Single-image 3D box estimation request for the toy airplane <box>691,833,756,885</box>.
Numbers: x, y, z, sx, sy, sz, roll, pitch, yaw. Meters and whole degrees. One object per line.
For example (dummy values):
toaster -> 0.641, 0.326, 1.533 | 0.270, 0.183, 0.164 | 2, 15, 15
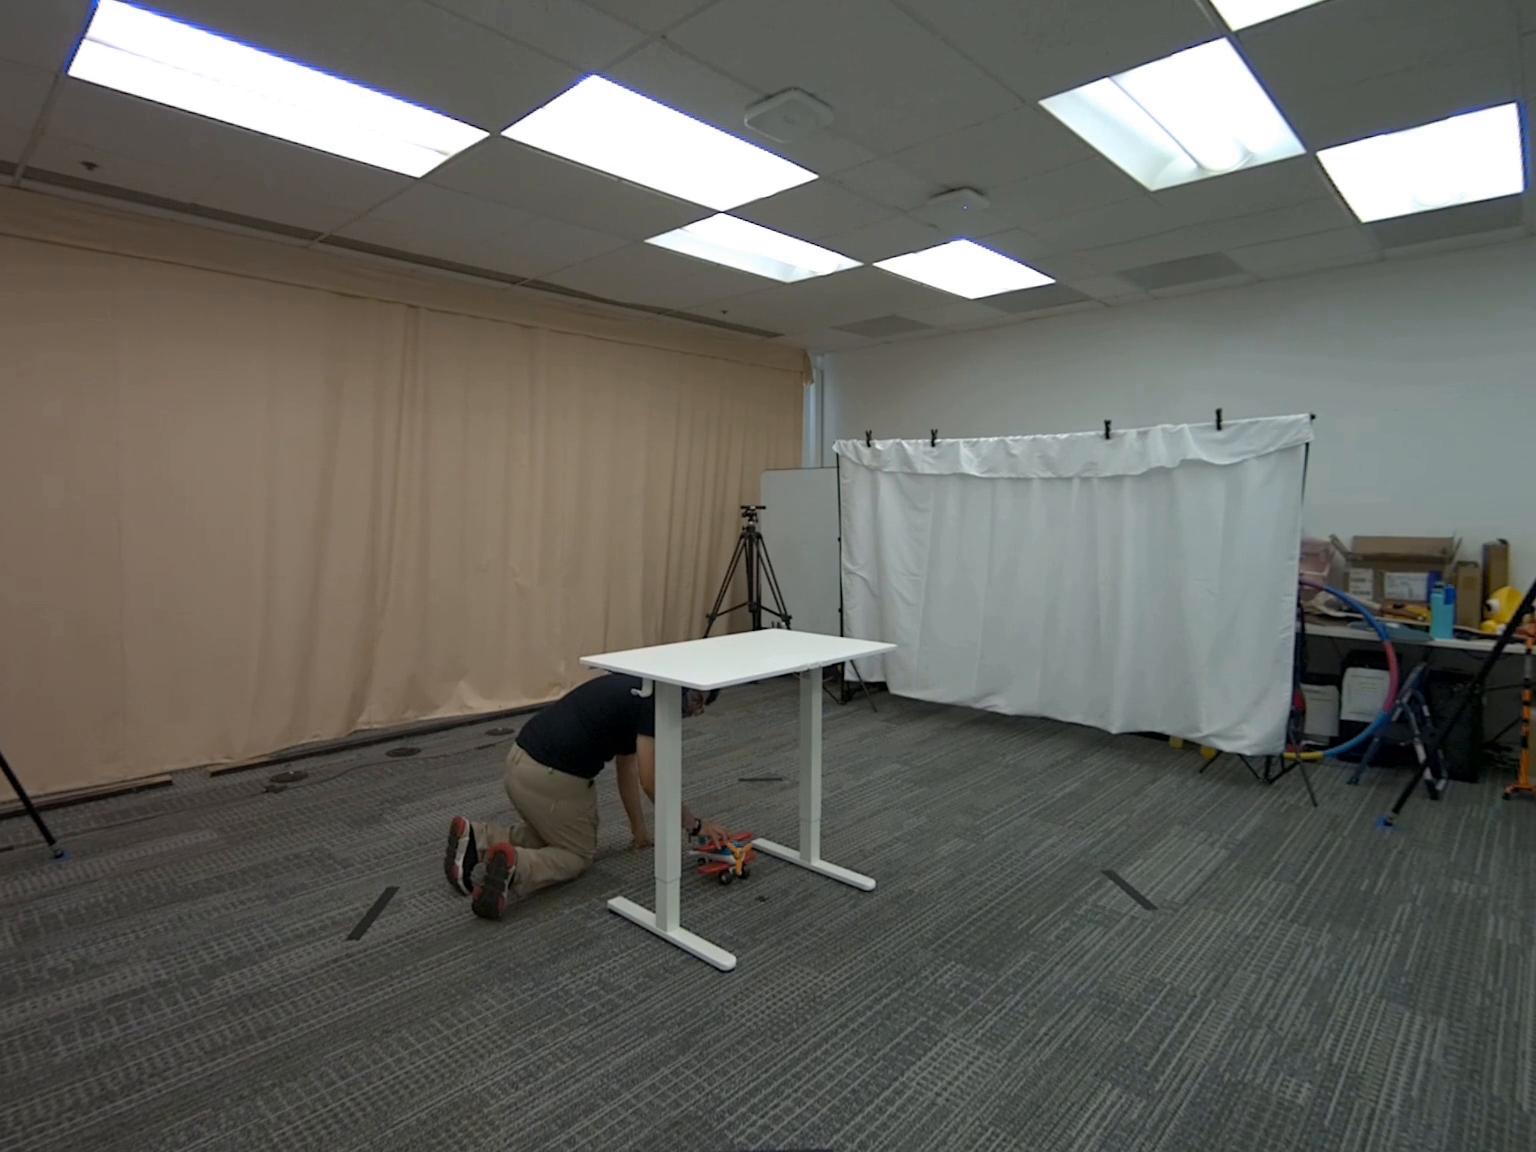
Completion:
toy airplane -> -0.193, 1.060, 3.167 | 0.265, 0.156, 0.246 | 3, 5, 22
